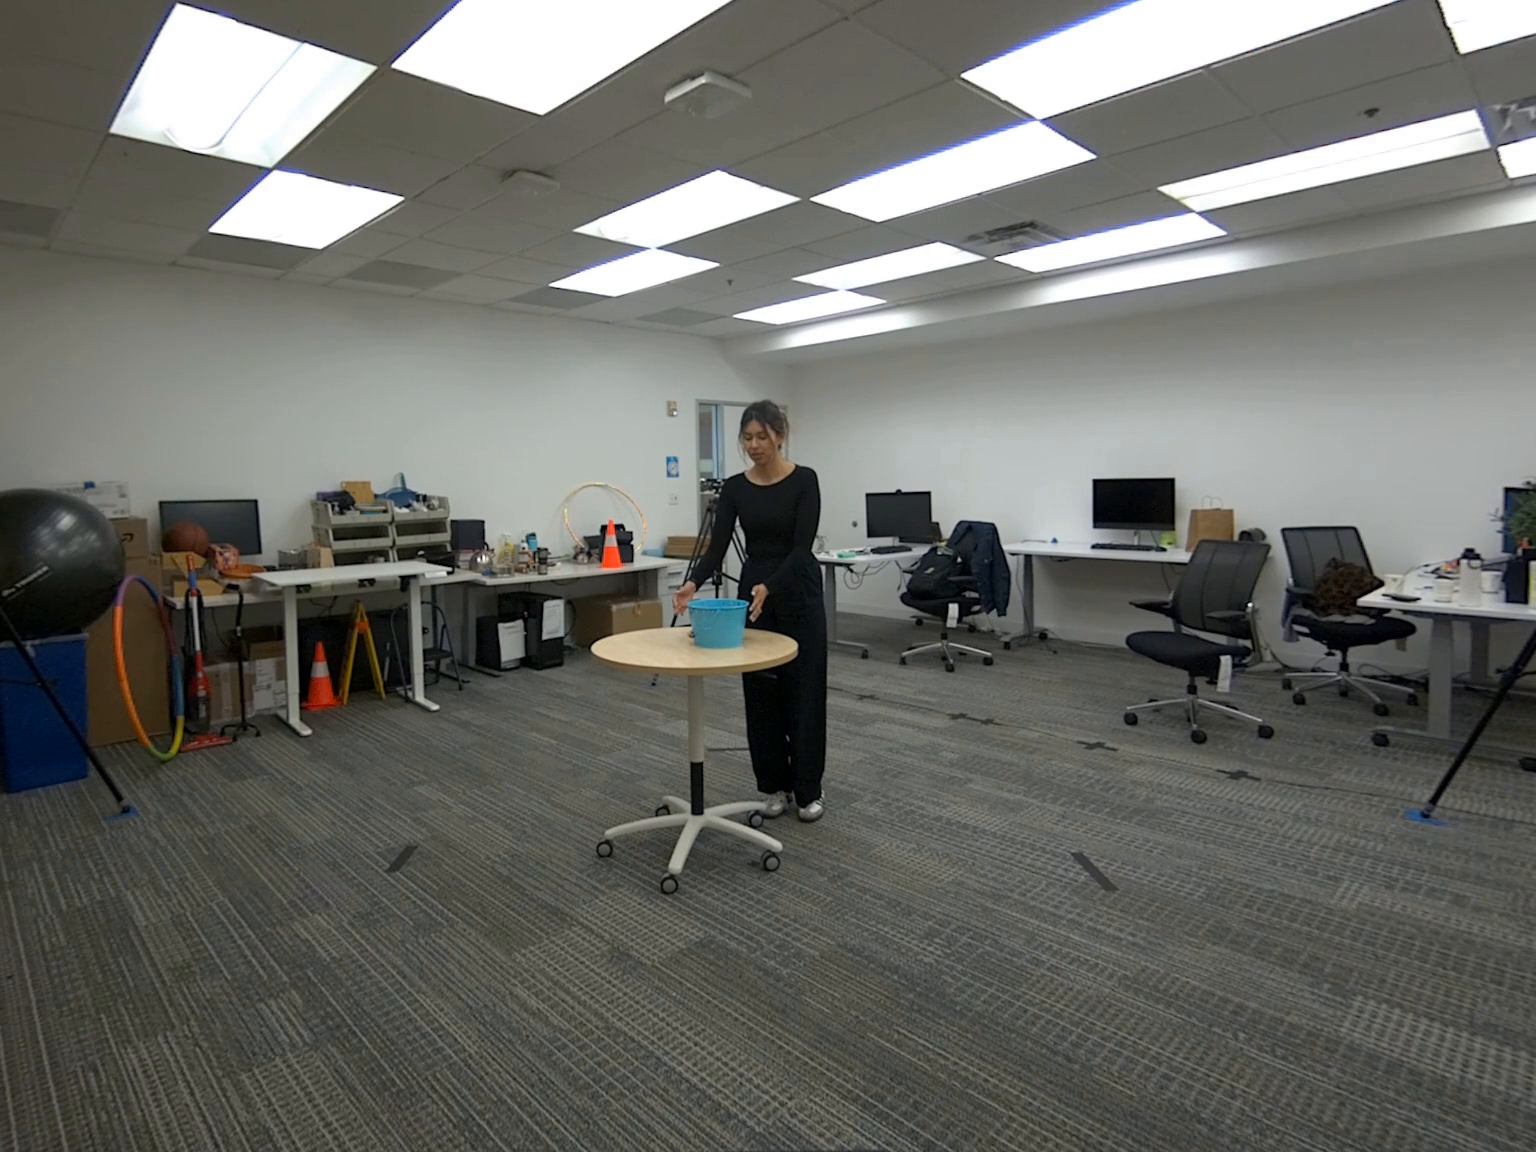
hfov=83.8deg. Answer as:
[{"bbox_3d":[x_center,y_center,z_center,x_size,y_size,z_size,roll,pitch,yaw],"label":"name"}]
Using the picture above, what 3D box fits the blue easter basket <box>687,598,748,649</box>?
[{"bbox_3d":[-0.193,0.180,3.196,0.243,0.155,0.244,1,4,-2],"label":"blue easter basket"}]
